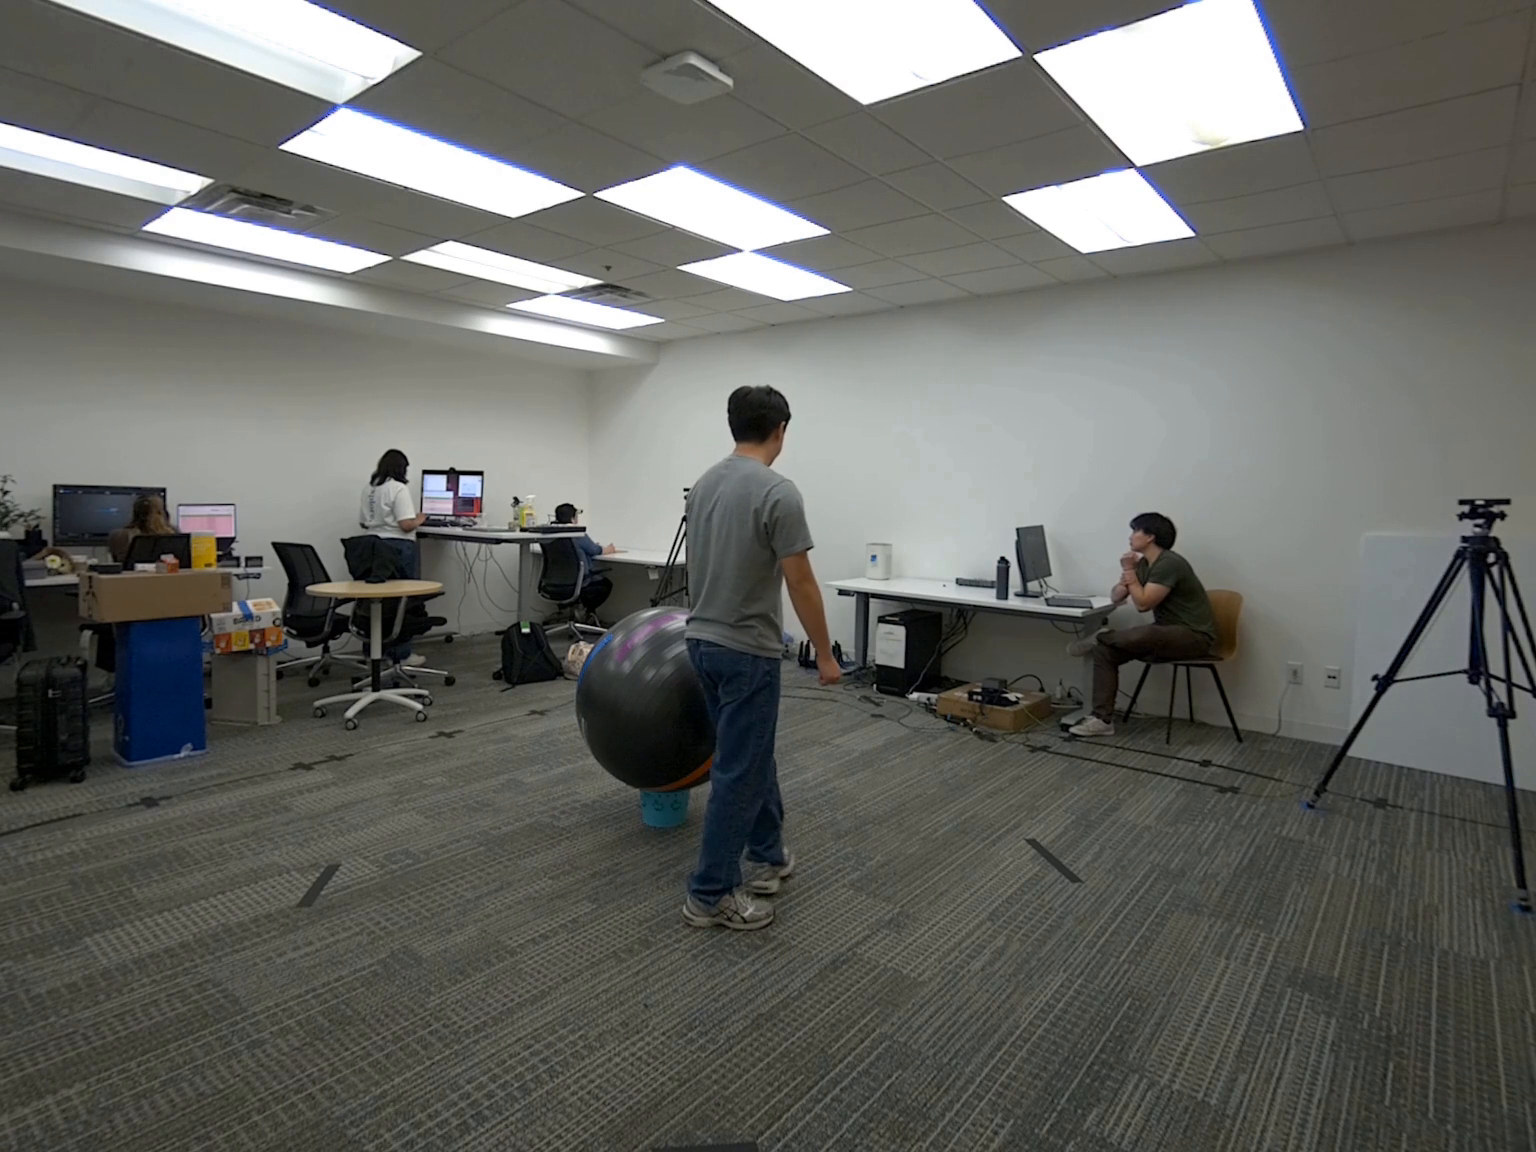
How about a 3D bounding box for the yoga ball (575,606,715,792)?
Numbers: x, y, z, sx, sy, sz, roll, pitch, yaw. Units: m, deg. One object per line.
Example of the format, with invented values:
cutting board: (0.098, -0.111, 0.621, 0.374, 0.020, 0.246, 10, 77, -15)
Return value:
yoga ball: (-0.439, 0.512, 3.568, 0.757, 0.755, 0.762, 1, 4, -2)
